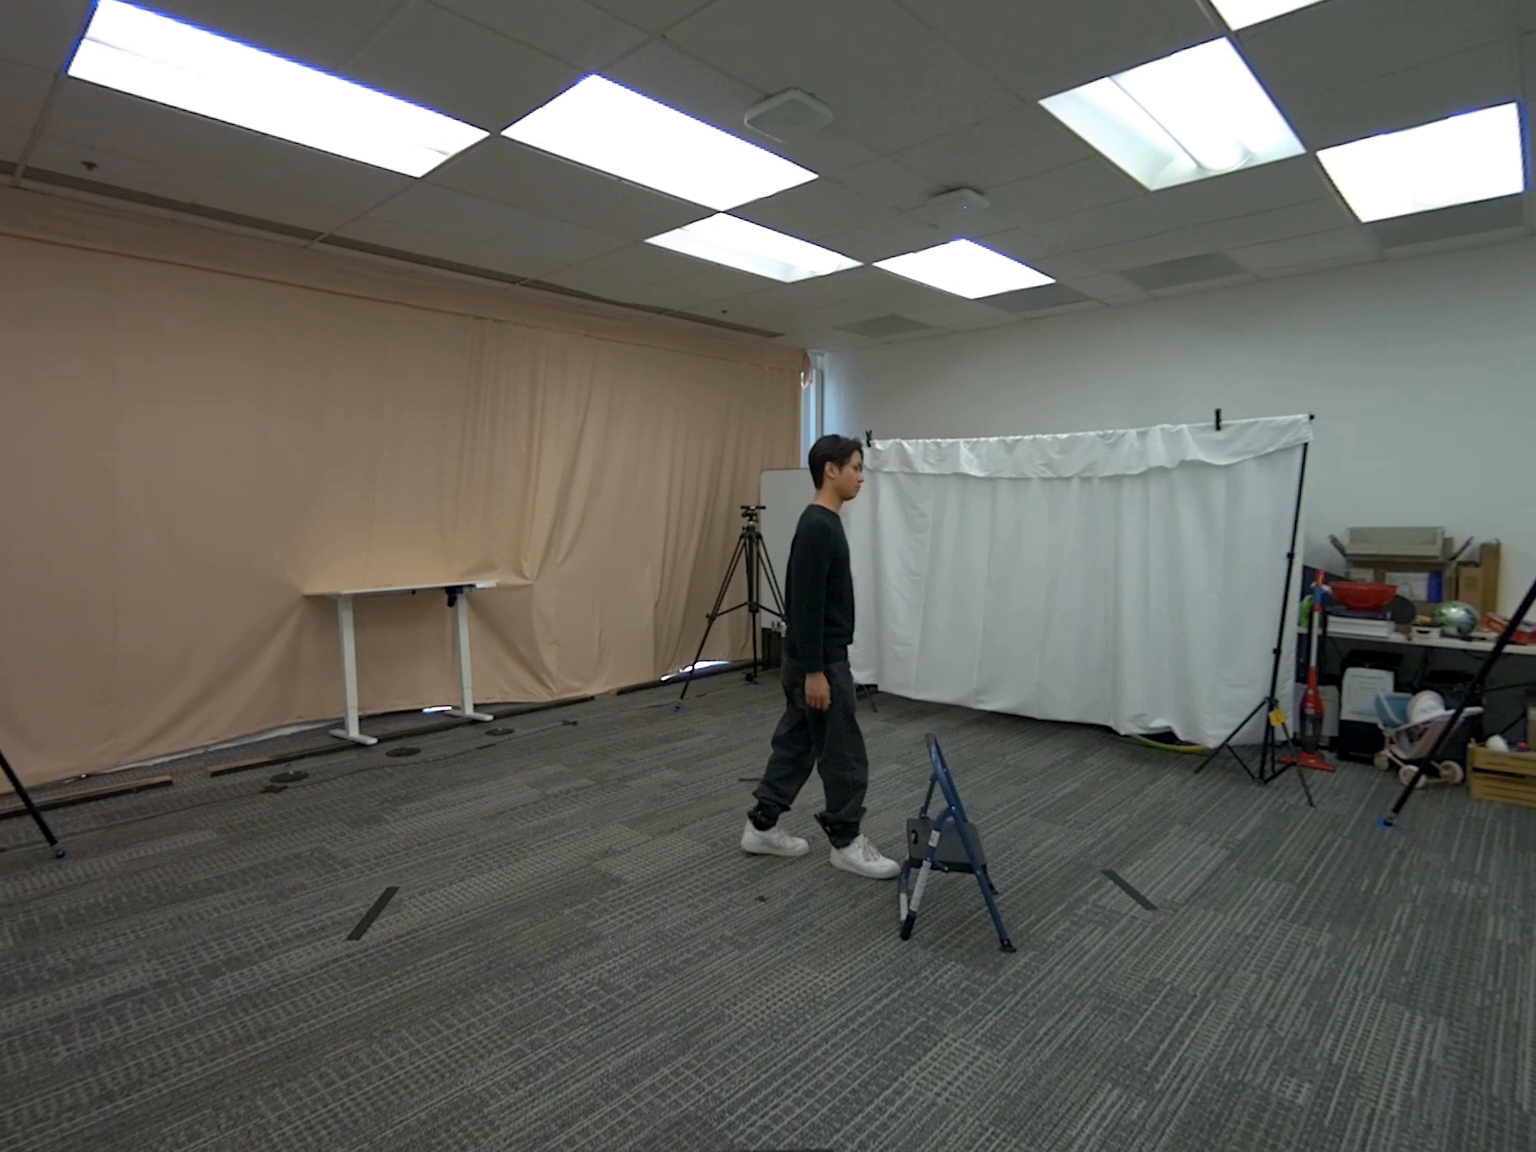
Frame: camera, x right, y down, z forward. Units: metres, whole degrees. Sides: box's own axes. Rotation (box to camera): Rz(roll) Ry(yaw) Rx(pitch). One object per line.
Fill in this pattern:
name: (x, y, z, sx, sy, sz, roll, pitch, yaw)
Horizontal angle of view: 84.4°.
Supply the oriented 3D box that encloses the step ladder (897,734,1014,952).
step ladder: (0.632, 0.853, 2.844, 0.353, 0.605, 0.427, 1, 3, 8)
